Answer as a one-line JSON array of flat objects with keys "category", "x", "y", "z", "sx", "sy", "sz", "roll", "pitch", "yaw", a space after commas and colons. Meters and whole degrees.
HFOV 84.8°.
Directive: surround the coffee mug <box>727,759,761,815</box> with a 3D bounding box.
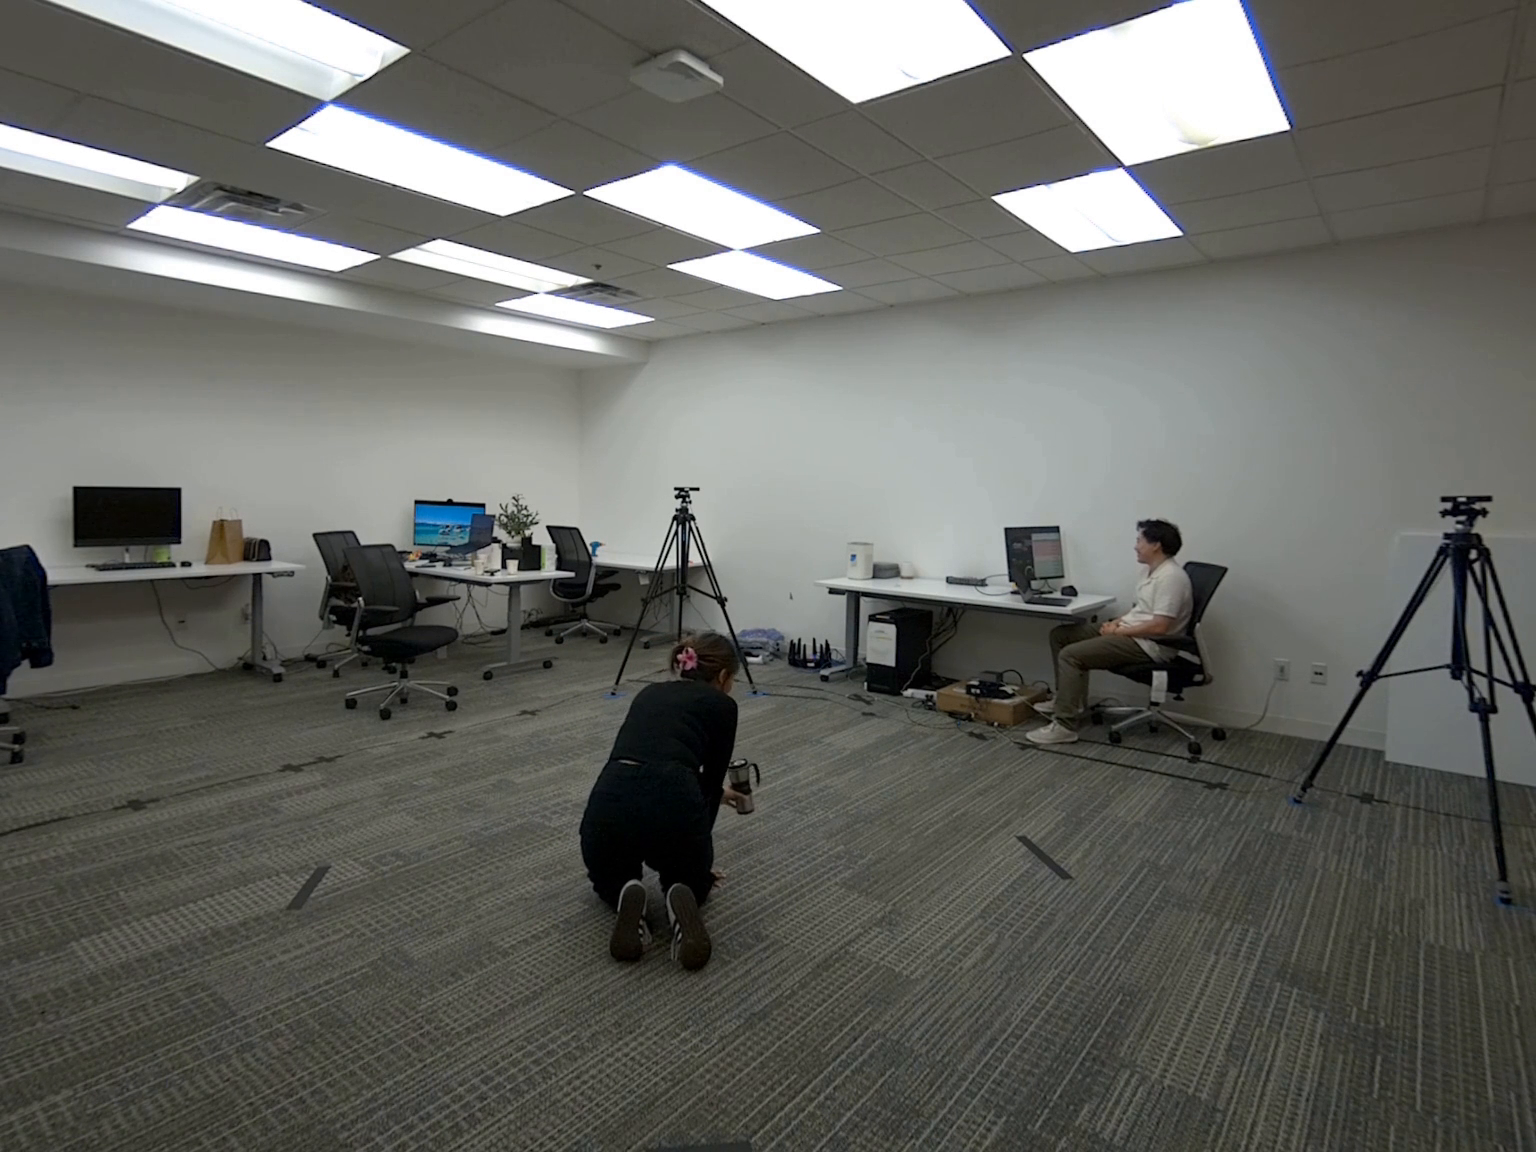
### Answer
[{"category": "coffee mug", "x": -0.106, "y": 0.841, "z": 3.375, "sx": 0.124, "sy": 0.203, "sz": 0.086, "roll": -11, "pitch": 0, "yaw": 18}]
